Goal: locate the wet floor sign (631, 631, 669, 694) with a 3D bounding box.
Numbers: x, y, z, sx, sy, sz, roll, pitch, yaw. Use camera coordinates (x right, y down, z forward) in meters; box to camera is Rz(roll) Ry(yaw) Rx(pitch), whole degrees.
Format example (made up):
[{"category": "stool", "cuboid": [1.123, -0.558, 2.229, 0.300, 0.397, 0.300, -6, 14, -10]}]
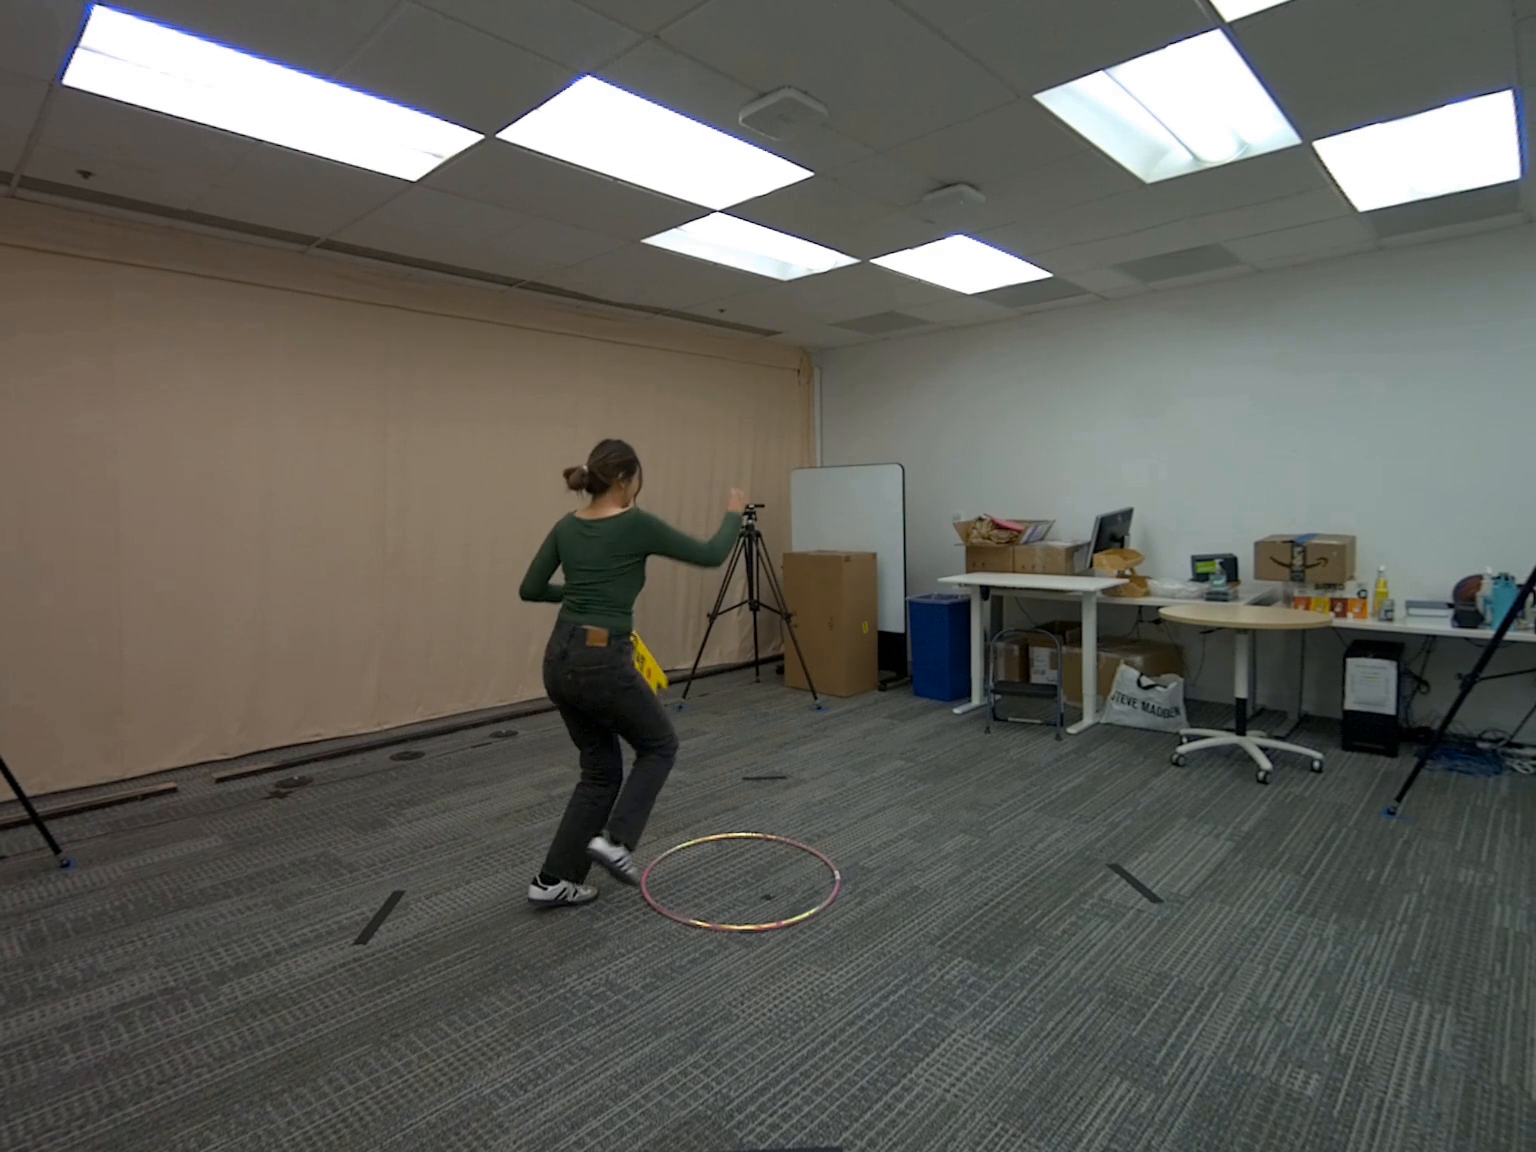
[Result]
[{"category": "wet floor sign", "cuboid": [-0.633, 0.285, 3.408, 0.291, 0.631, 0.287, -9, 33, 5]}]
